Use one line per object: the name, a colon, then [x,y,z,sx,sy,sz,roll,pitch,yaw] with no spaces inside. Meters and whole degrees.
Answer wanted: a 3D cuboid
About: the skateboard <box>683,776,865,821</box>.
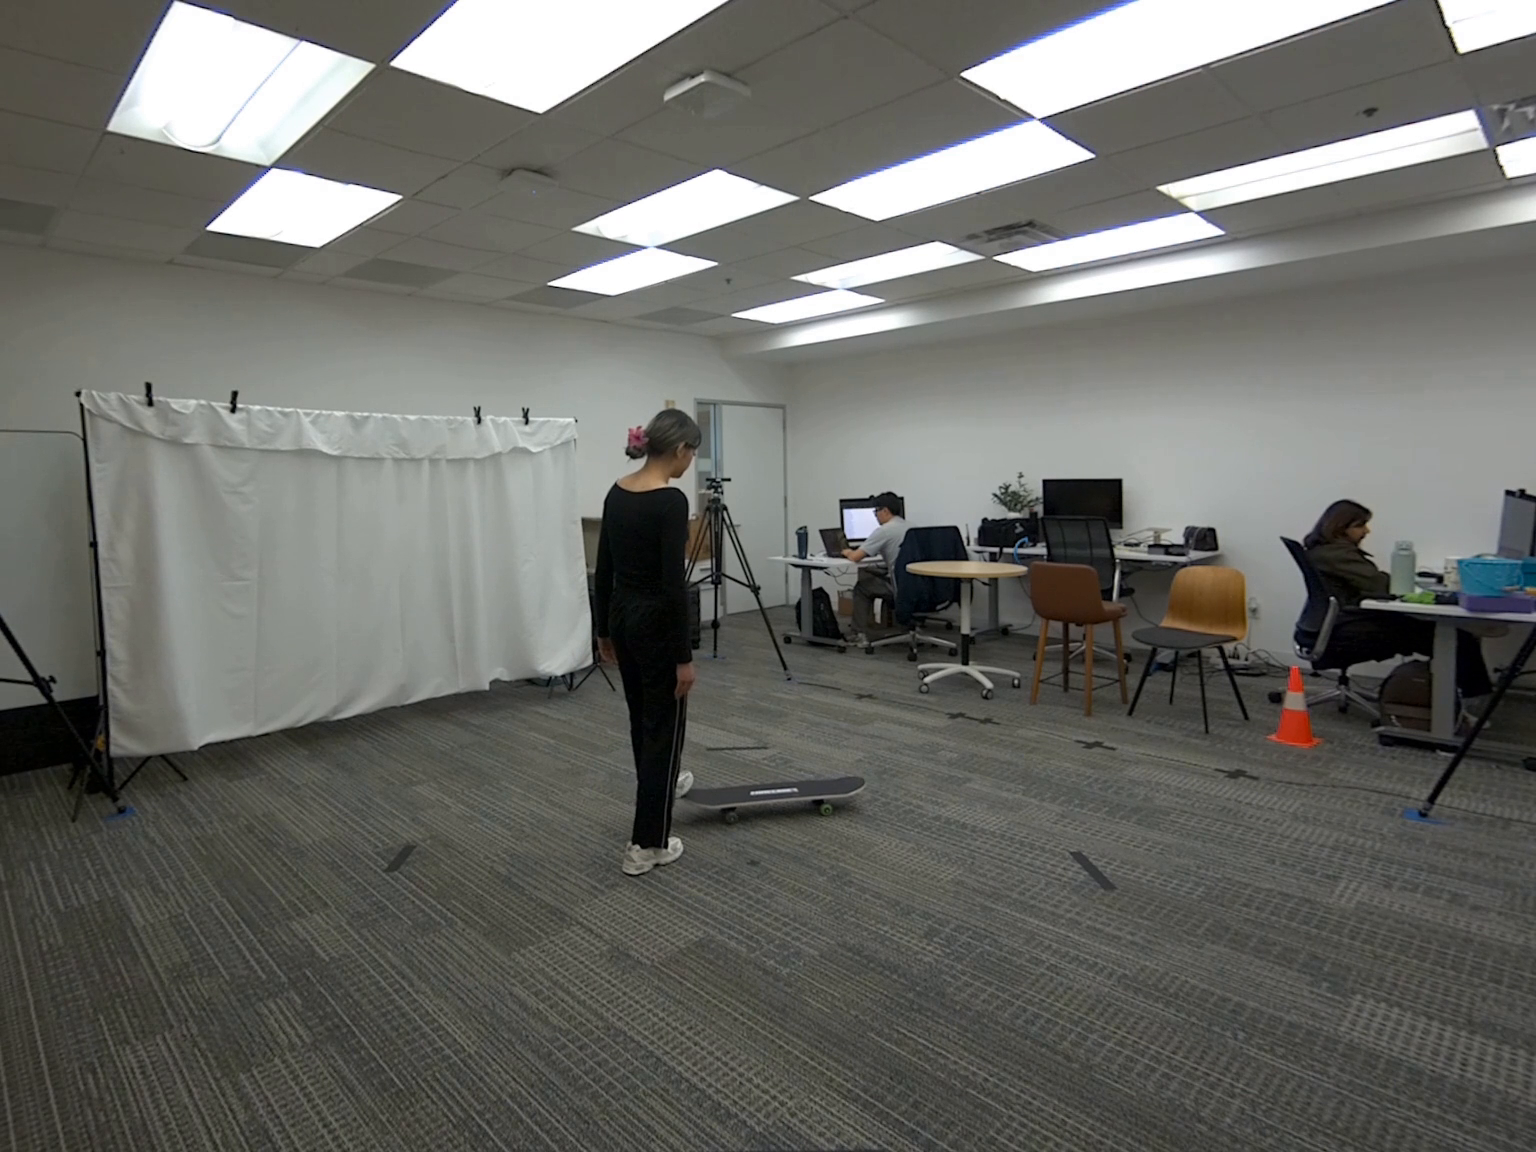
skateboard: [0.024,0.934,3.570,0.778,0.109,0.196,-3,9,-10]
